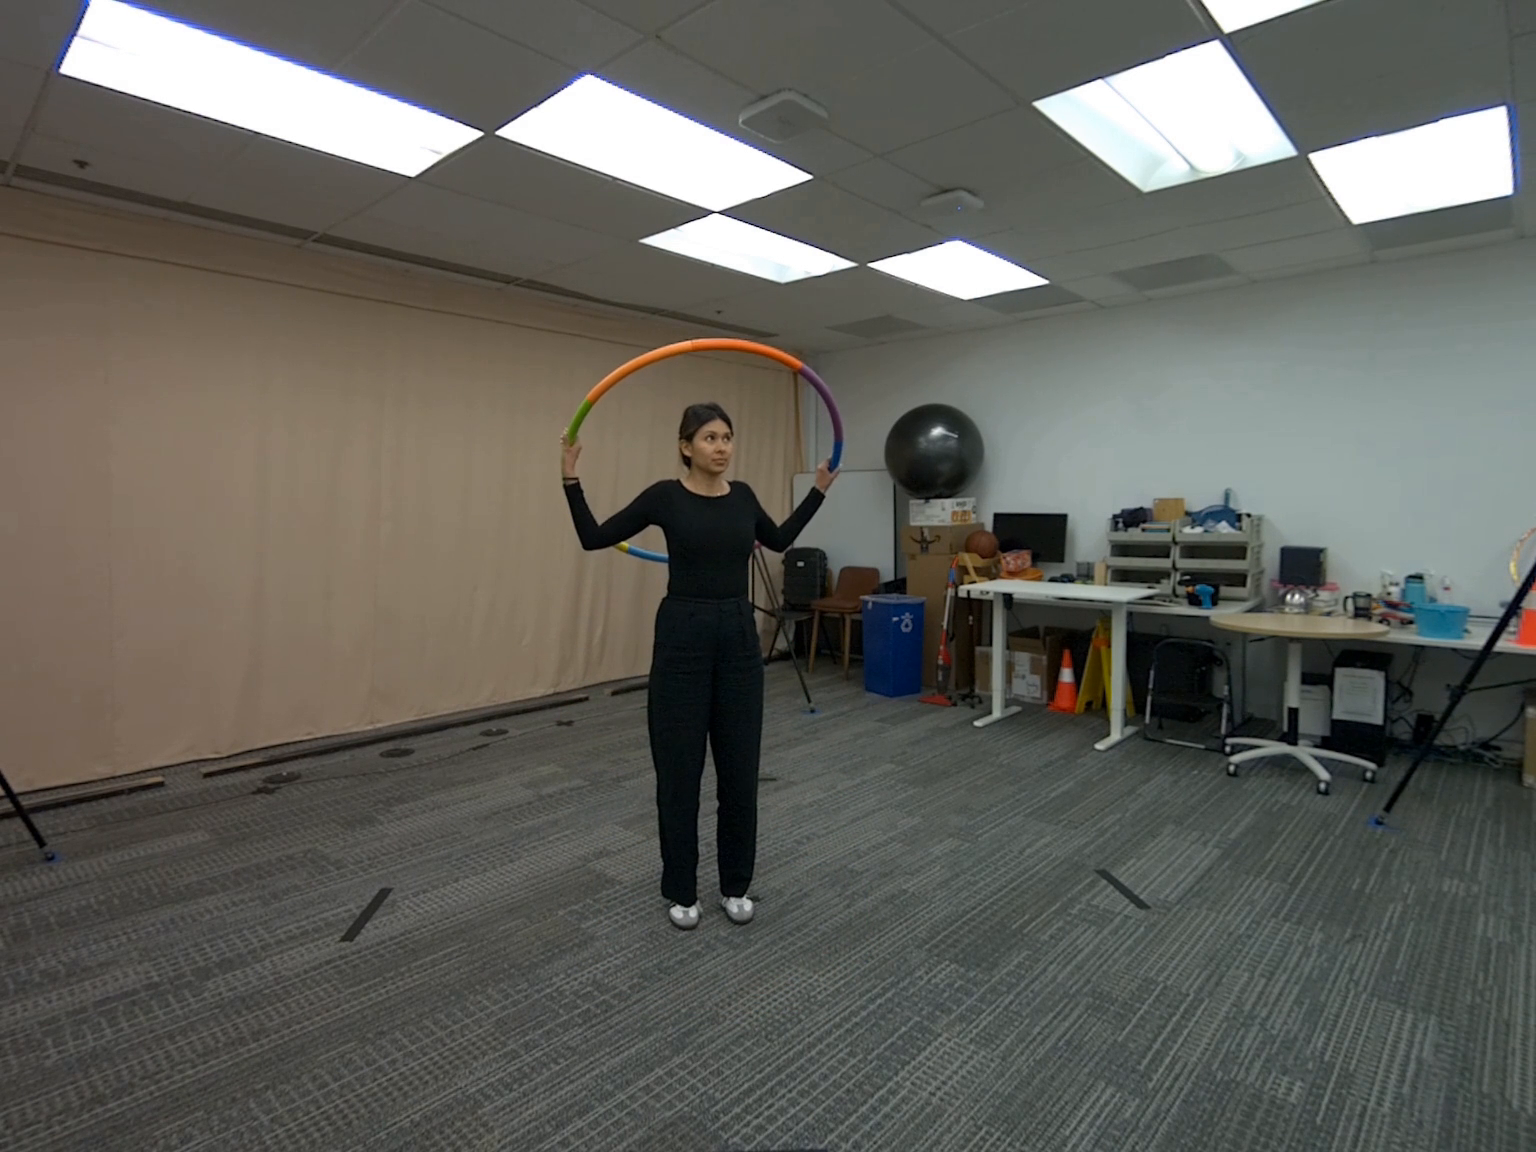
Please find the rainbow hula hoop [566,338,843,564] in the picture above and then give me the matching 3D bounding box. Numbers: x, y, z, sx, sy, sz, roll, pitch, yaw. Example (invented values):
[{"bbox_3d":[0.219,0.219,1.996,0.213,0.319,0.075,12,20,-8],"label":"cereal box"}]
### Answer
[{"bbox_3d":[-0.218,-0.391,2.946,0.964,0.968,0.036,0,46,-15],"label":"rainbow hula hoop"}]
